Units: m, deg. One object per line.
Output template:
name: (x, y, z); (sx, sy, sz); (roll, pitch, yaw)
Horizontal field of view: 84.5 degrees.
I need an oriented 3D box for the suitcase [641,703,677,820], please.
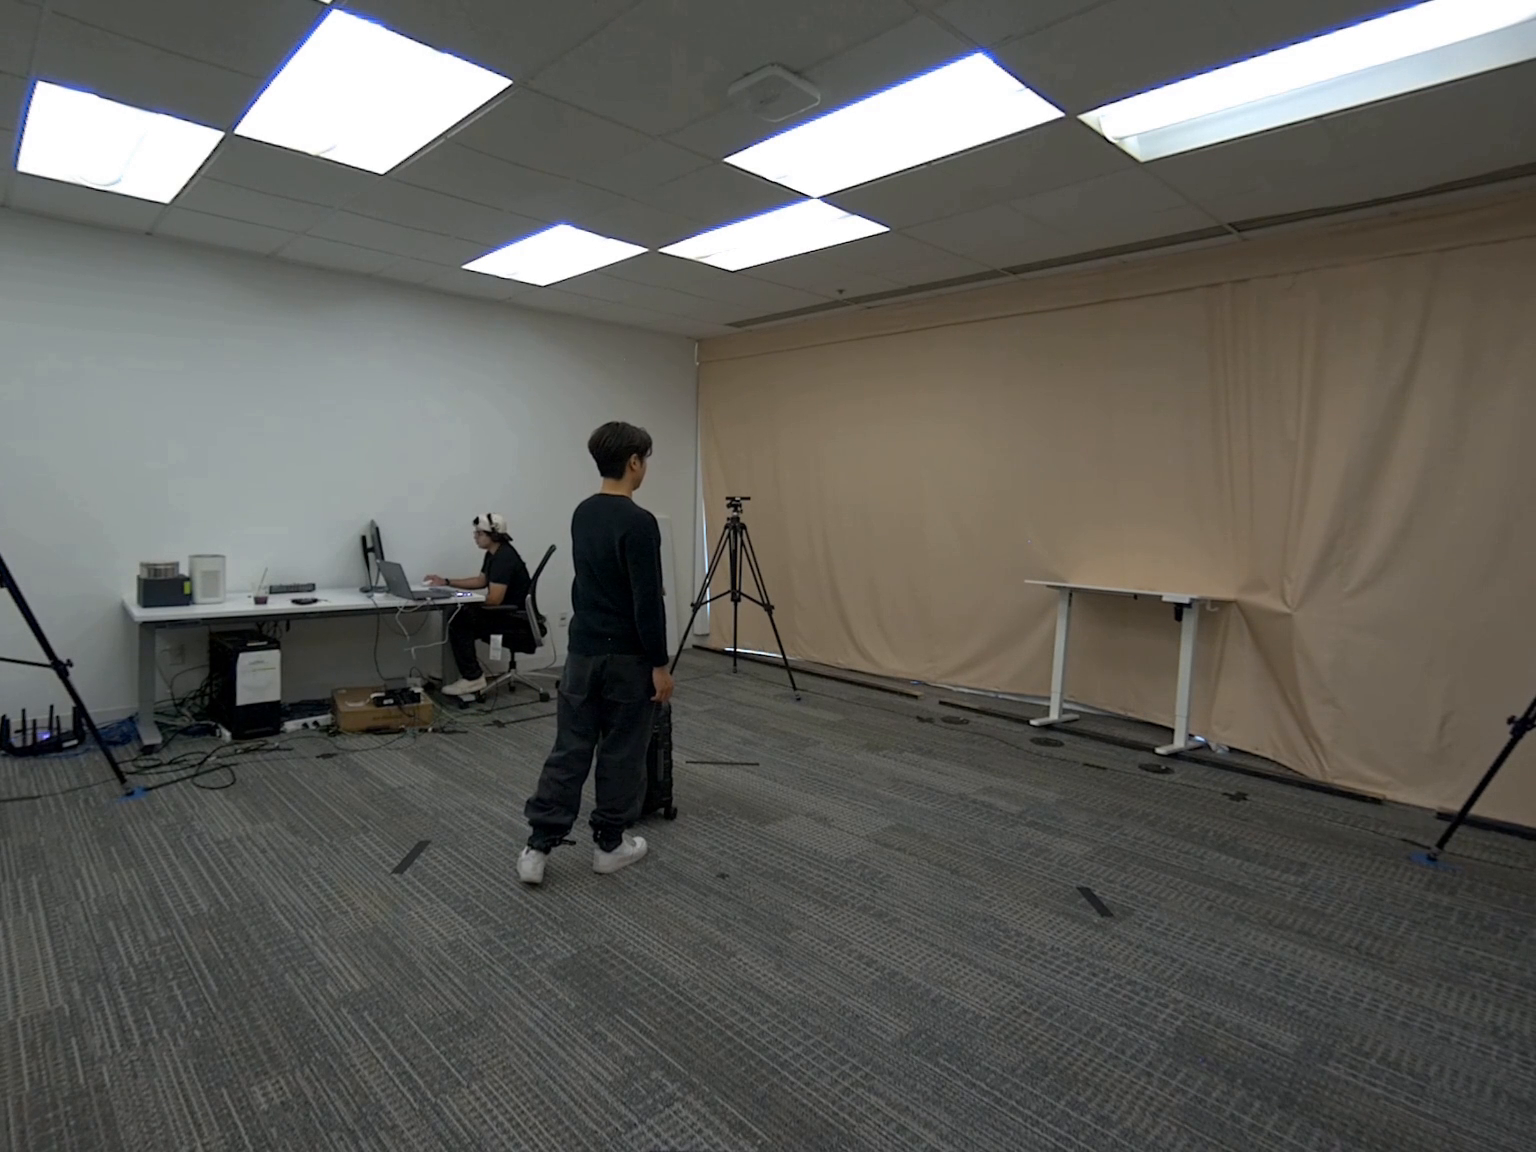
suitcase: (-0.600, 0.570, 3.683); (0.252, 0.975, 0.392); (-4, 5, -28)
